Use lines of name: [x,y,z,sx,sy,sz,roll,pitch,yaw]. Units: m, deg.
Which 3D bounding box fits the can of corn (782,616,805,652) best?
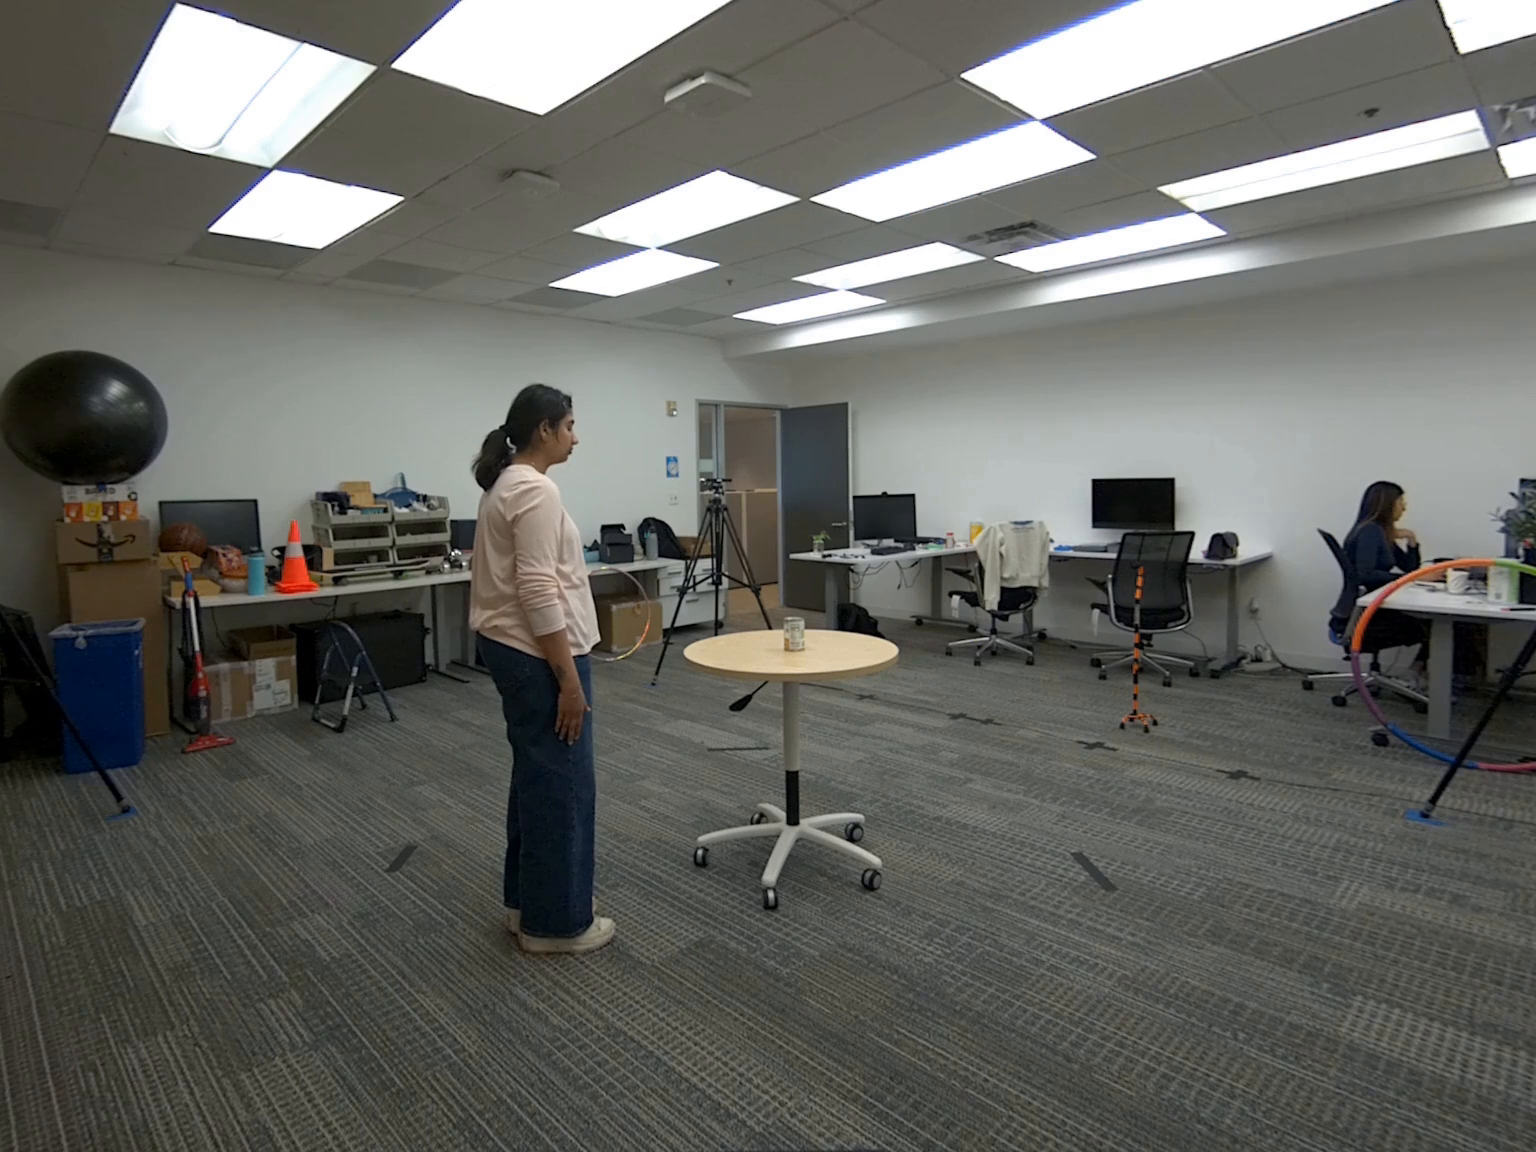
can of corn: [0.095,0.209,3.048,0.074,0.111,0.074,-1,4,-2]
